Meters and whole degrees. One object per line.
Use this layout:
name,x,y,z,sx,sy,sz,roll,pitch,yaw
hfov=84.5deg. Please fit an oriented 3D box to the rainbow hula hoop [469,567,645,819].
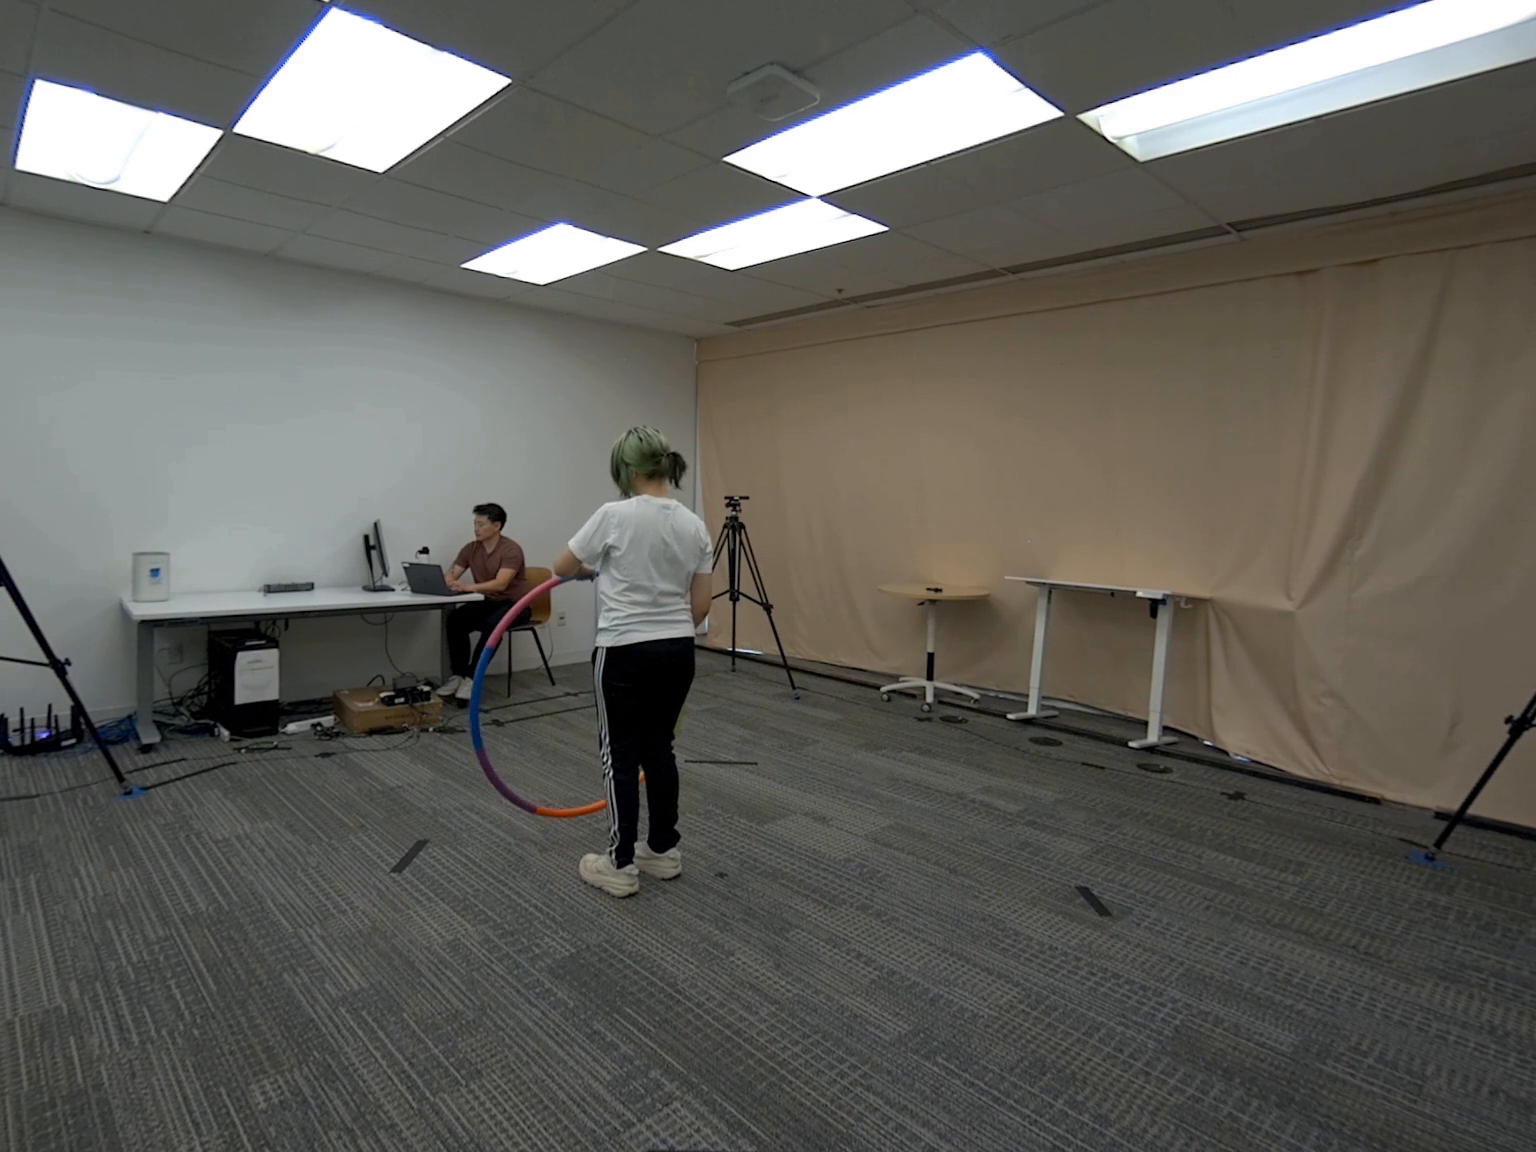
rainbow hula hoop,-0.715,0.463,3.344,0.956,0.975,0.036,-2,8,-41
